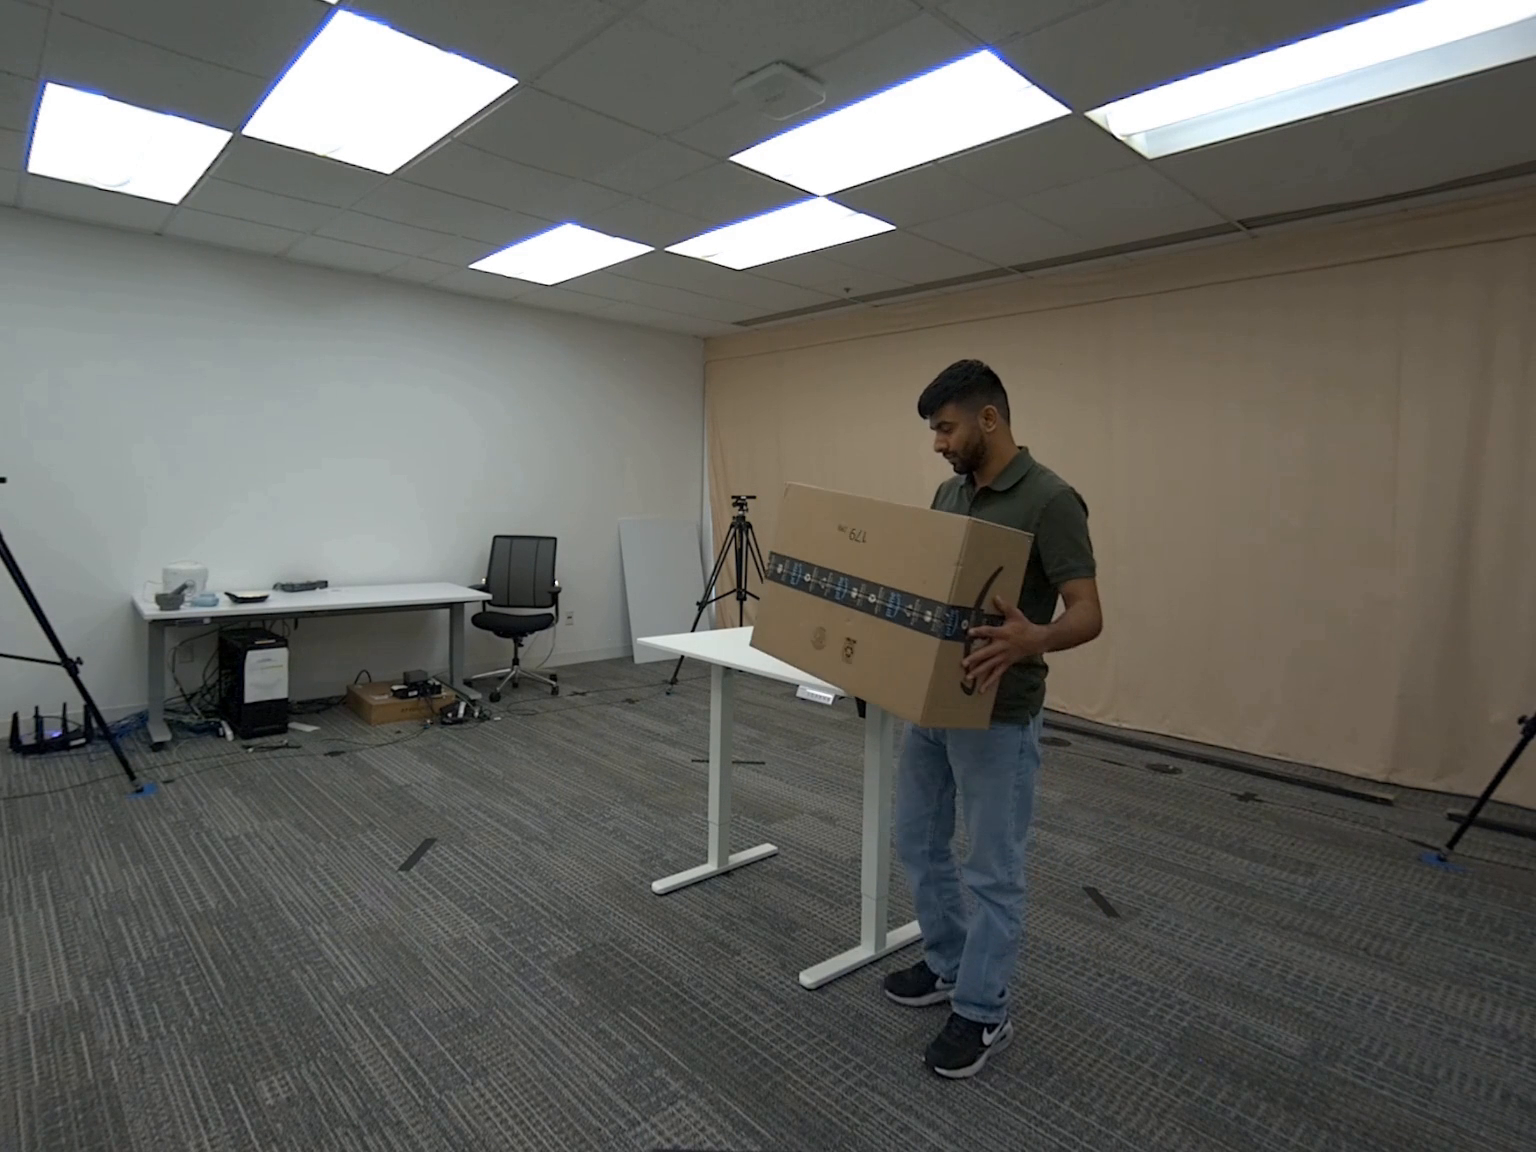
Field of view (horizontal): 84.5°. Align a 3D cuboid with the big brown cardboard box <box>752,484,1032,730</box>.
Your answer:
[{"bbox_3d":[0.256,0.055,1.902,0.227,0.416,0.606,10,6,-38],"label":"big brown cardboard box"}]
